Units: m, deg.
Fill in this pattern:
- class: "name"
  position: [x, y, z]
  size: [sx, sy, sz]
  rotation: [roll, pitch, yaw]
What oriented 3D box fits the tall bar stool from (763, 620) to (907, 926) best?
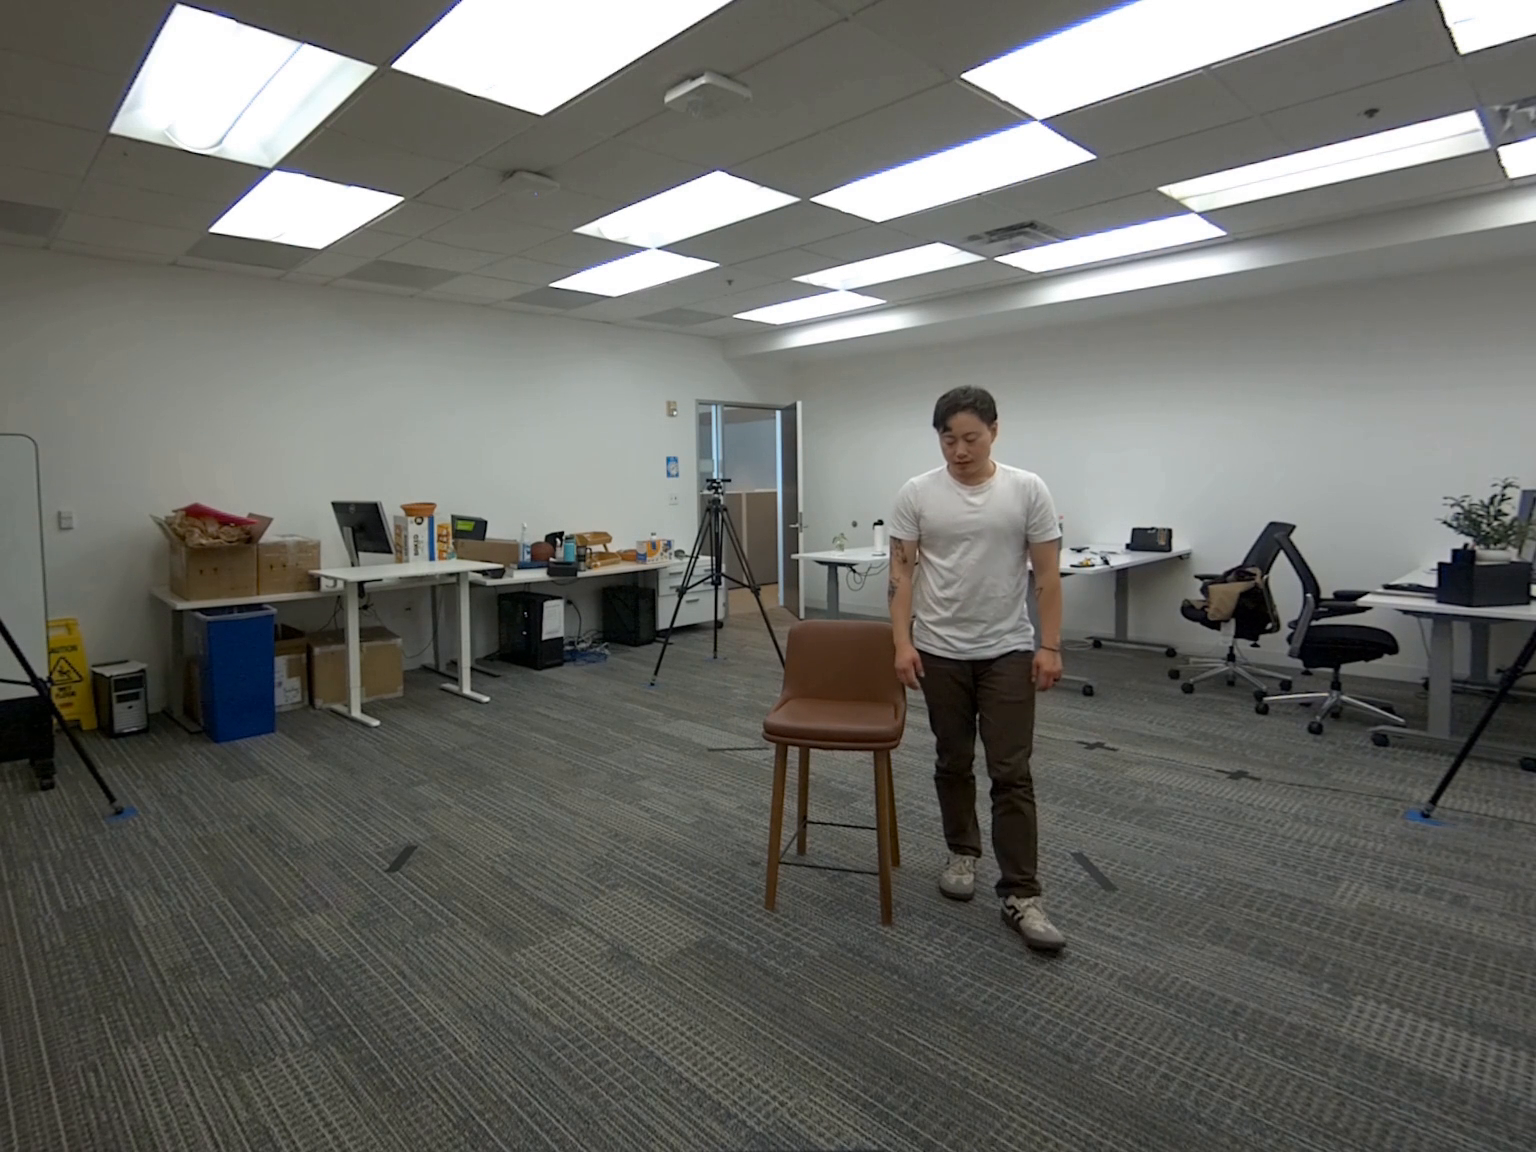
- class: "tall bar stool"
  position: [0.241, 0.631, 2.904]
  size: [0.464, 0.888, 0.461]
  rotation: [1, 3, 17]
